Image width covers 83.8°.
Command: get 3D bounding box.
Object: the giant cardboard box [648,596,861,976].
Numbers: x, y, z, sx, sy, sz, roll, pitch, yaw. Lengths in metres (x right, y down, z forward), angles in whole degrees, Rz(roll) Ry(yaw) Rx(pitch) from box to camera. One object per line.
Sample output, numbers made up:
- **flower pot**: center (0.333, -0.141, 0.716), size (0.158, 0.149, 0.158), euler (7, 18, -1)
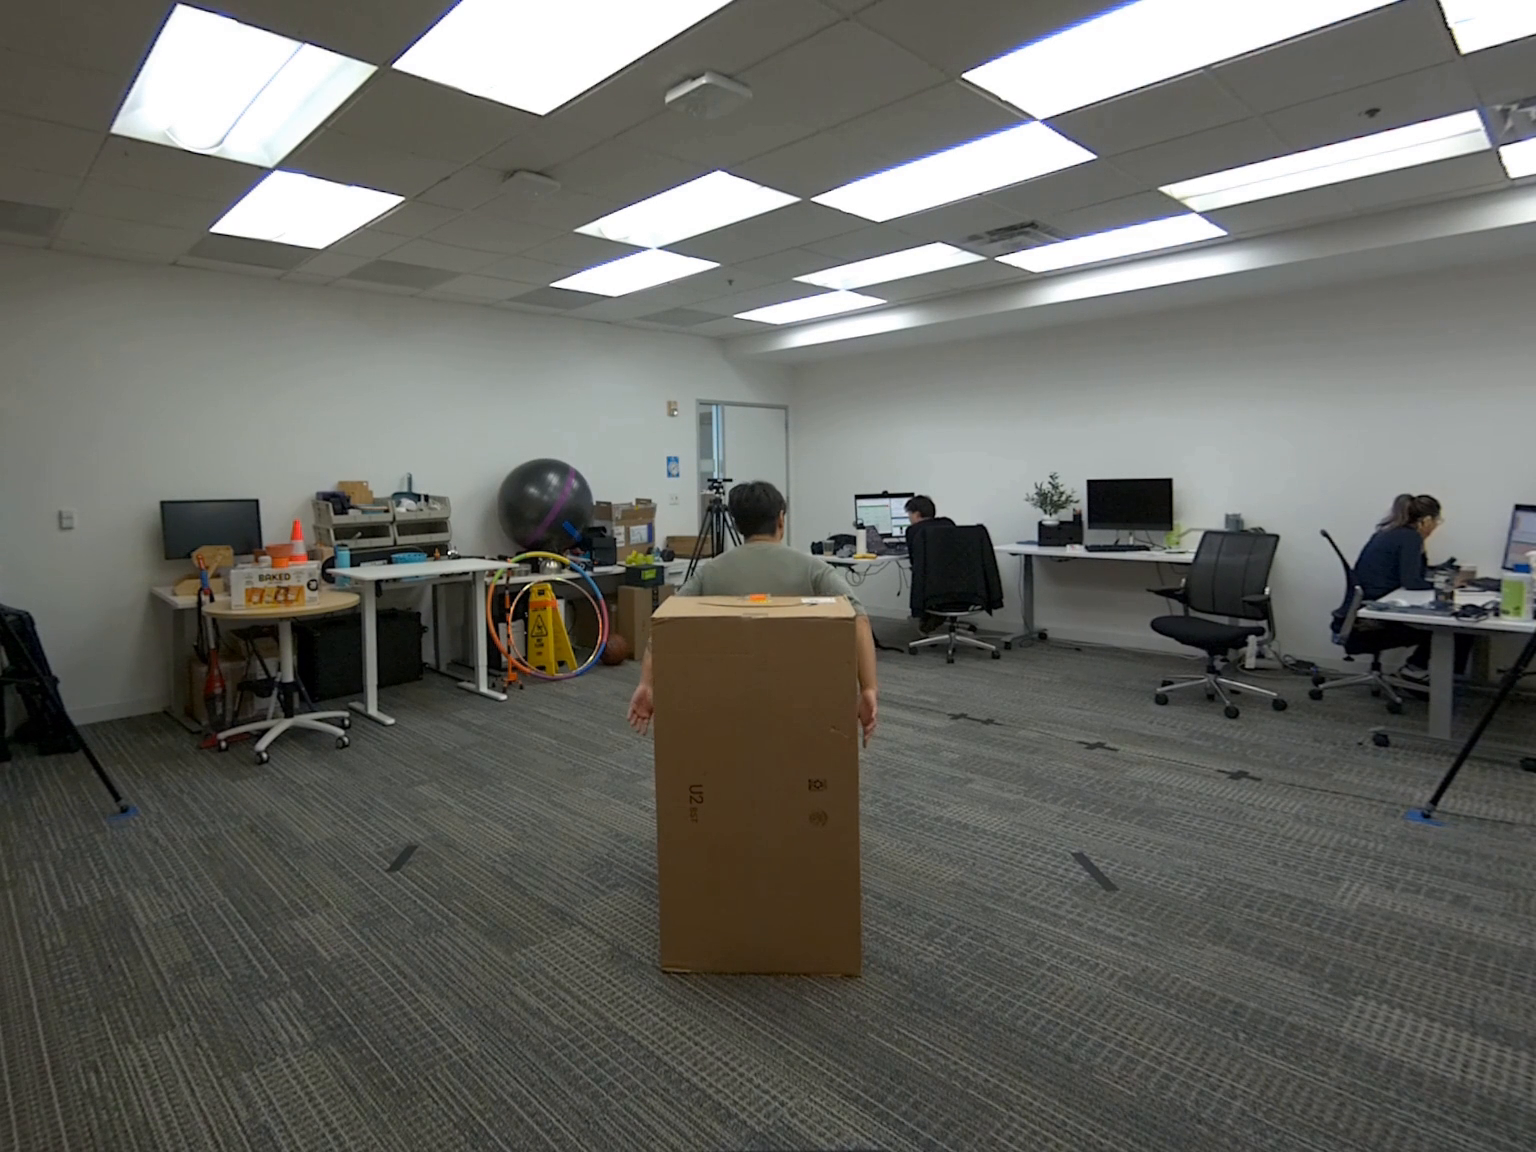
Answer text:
- **giant cardboard box**: center (-0.024, 0.599, 2.581), size (0.580, 1.021, 0.426), euler (-1, 5, 3)
